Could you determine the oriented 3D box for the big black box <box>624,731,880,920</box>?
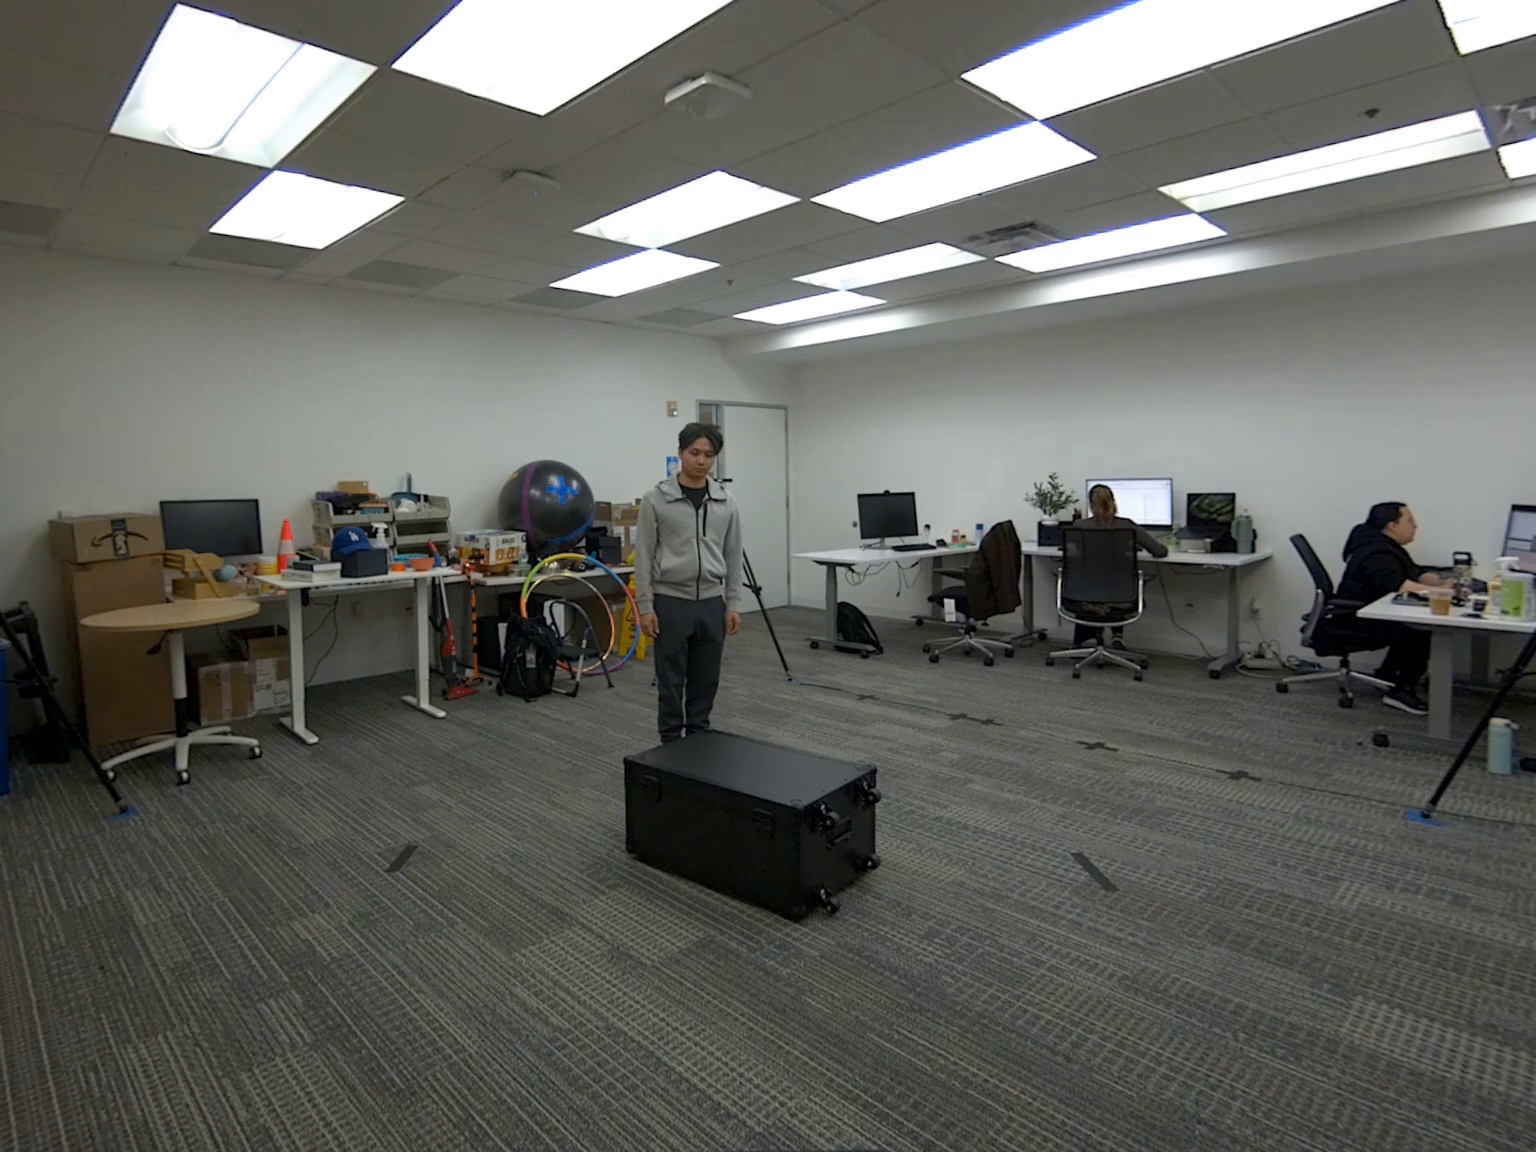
[{"bbox_3d":[-0.050,0.858,3.068,0.887,0.395,0.508,3,7,37],"label":"big black box"}]
